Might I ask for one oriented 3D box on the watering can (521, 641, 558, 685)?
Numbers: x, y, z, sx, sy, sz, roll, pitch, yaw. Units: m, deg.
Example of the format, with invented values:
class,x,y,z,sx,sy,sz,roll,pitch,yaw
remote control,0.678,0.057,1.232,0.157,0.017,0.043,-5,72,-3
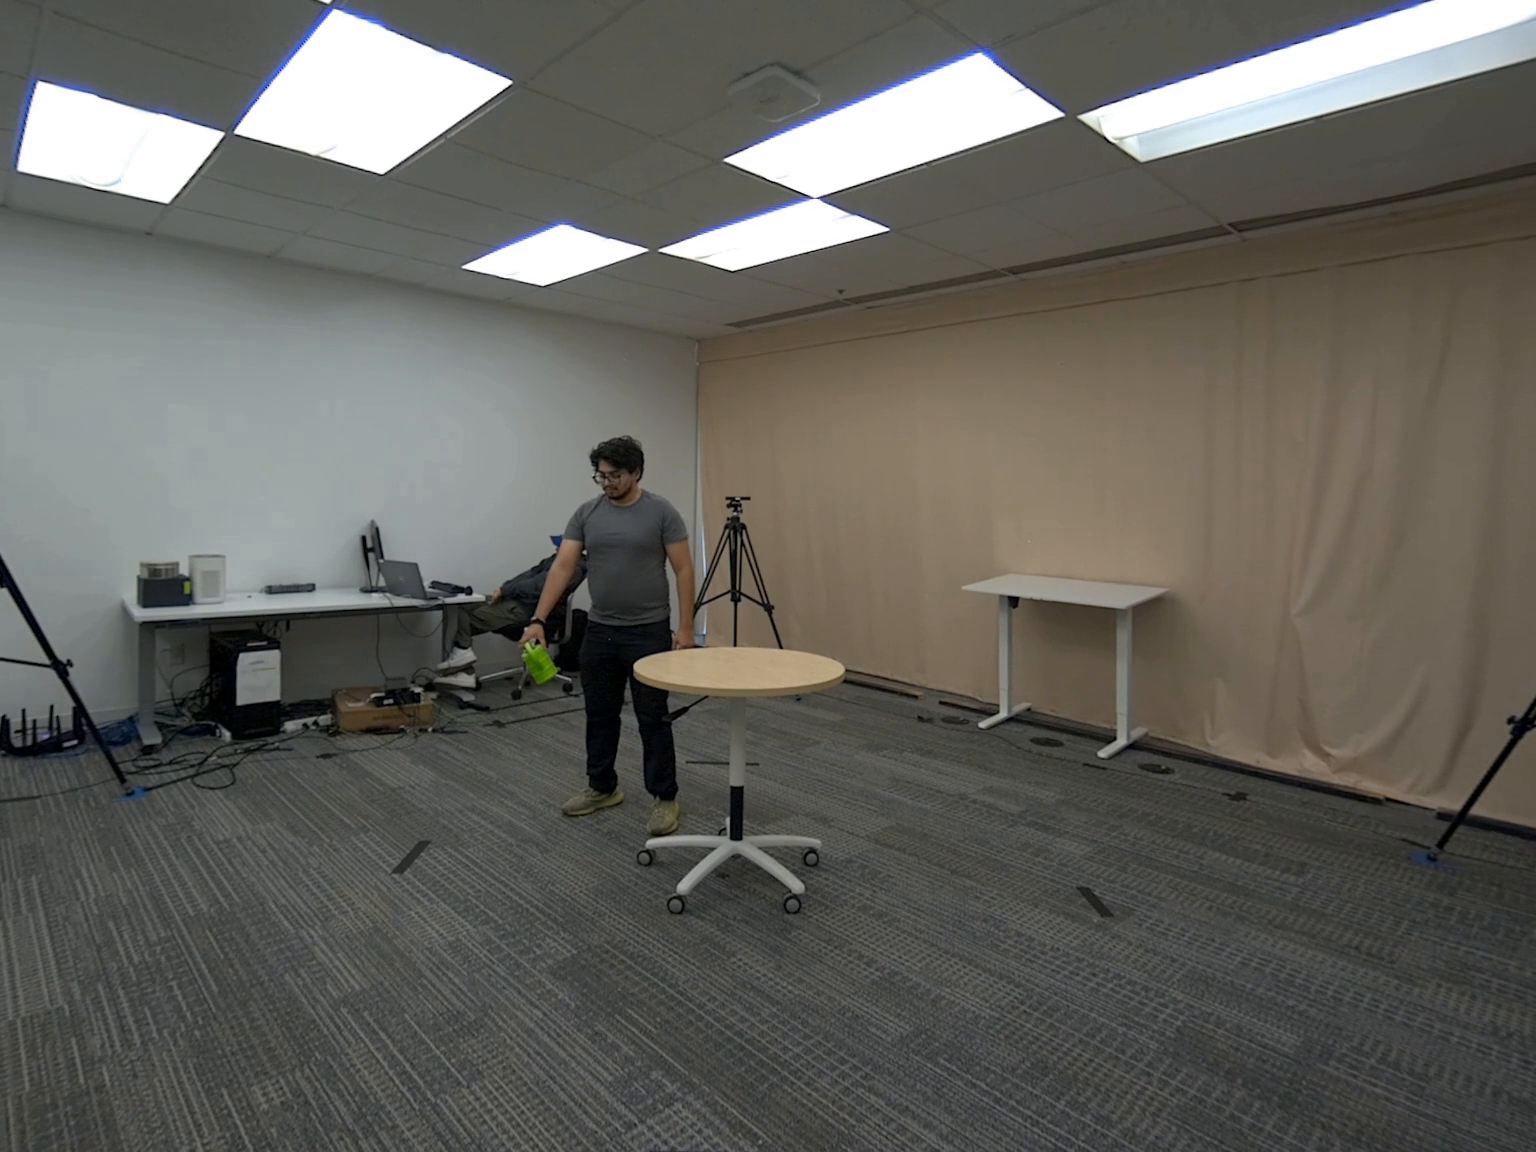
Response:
class,x,y,z,sx,sy,sz,roll,pitch,yaw
watering can,-0.953,0.323,3.436,0.098,0.175,0.280,-29,8,2
